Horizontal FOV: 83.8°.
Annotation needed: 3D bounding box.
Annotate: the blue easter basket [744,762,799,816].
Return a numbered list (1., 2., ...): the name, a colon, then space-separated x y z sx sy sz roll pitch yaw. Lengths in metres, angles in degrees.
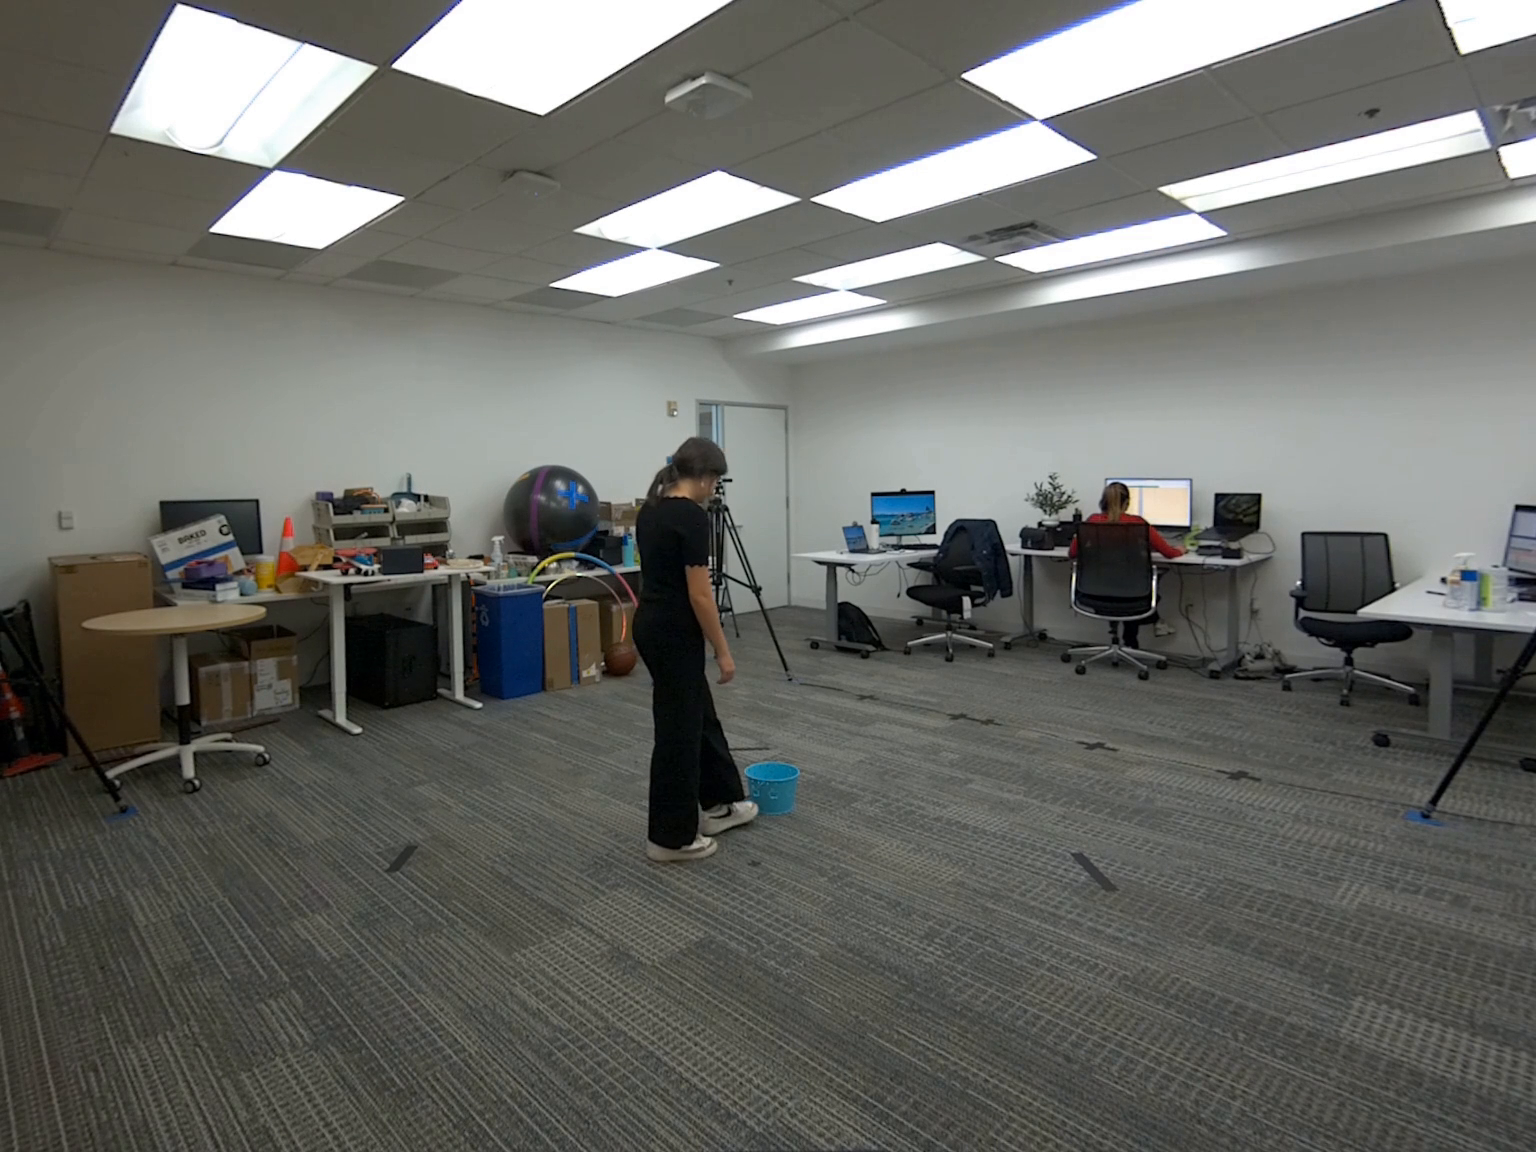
1. blue easter basket: 0.017 0.903 3.646 0.243 0.155 0.245 -1 6 -2
